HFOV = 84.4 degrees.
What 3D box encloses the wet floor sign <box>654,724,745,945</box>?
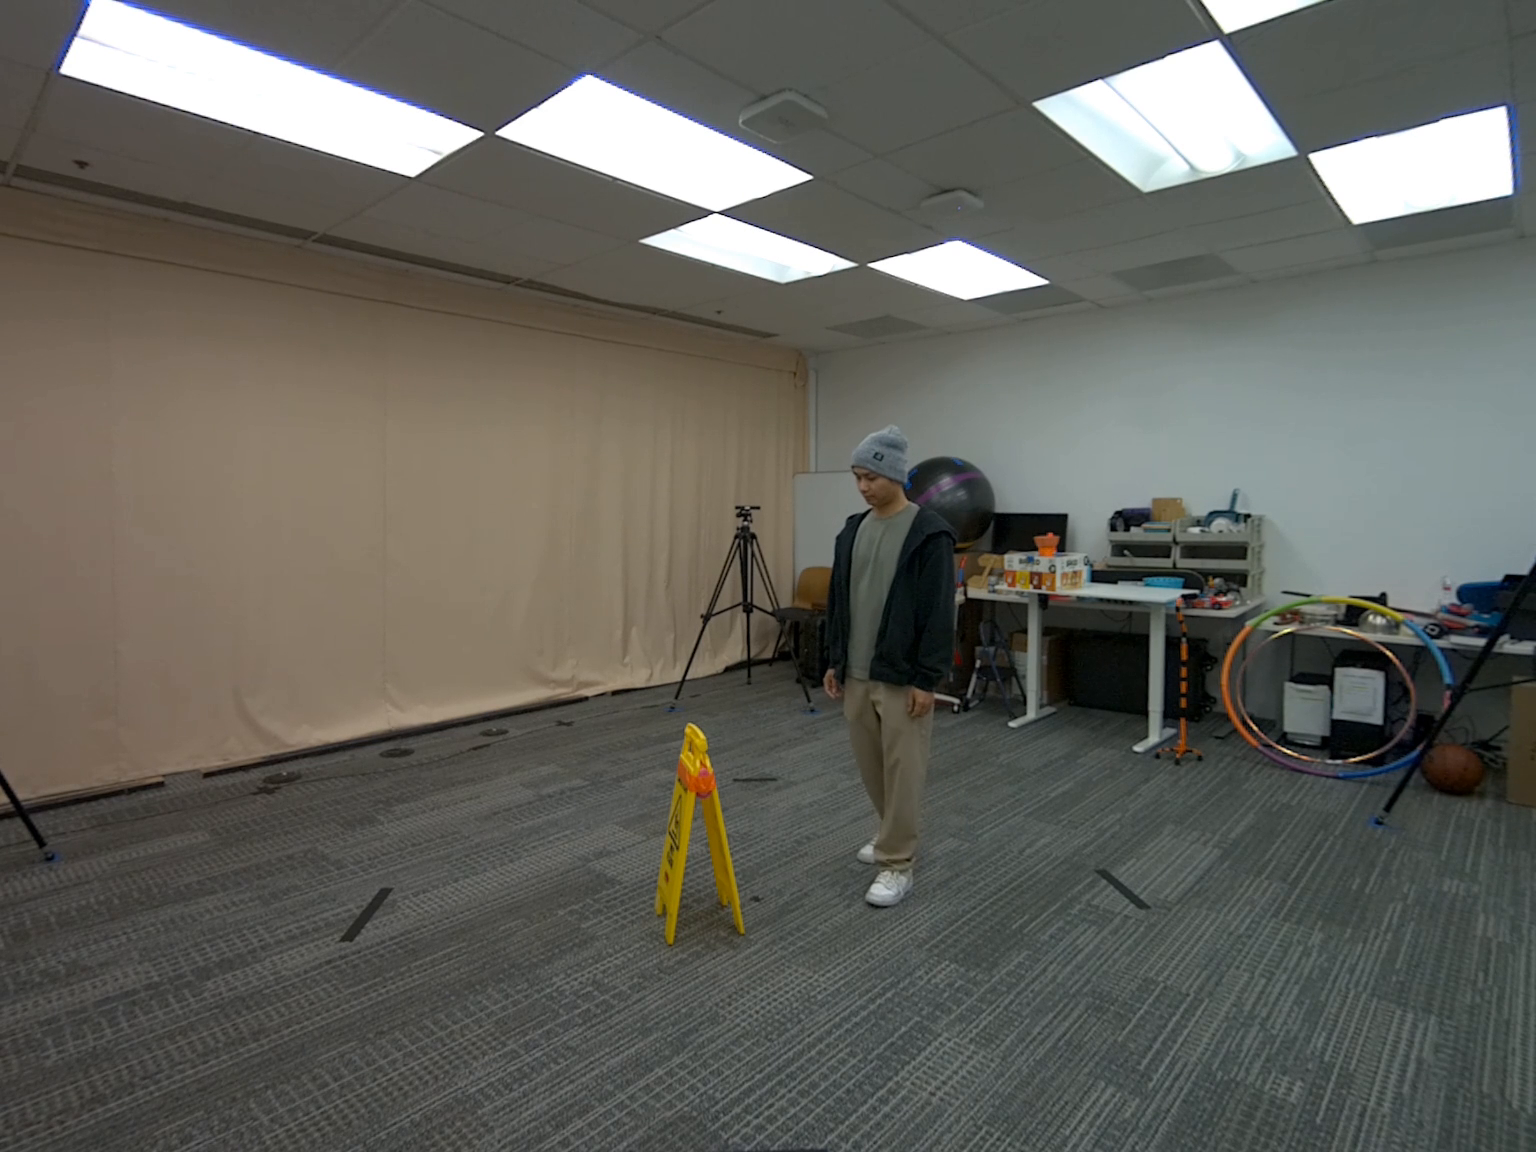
[{"bbox_3d":[-0.238,0.831,2.808,0.285,0.645,0.287,-2,2,-16],"label":"wet floor sign"}]
